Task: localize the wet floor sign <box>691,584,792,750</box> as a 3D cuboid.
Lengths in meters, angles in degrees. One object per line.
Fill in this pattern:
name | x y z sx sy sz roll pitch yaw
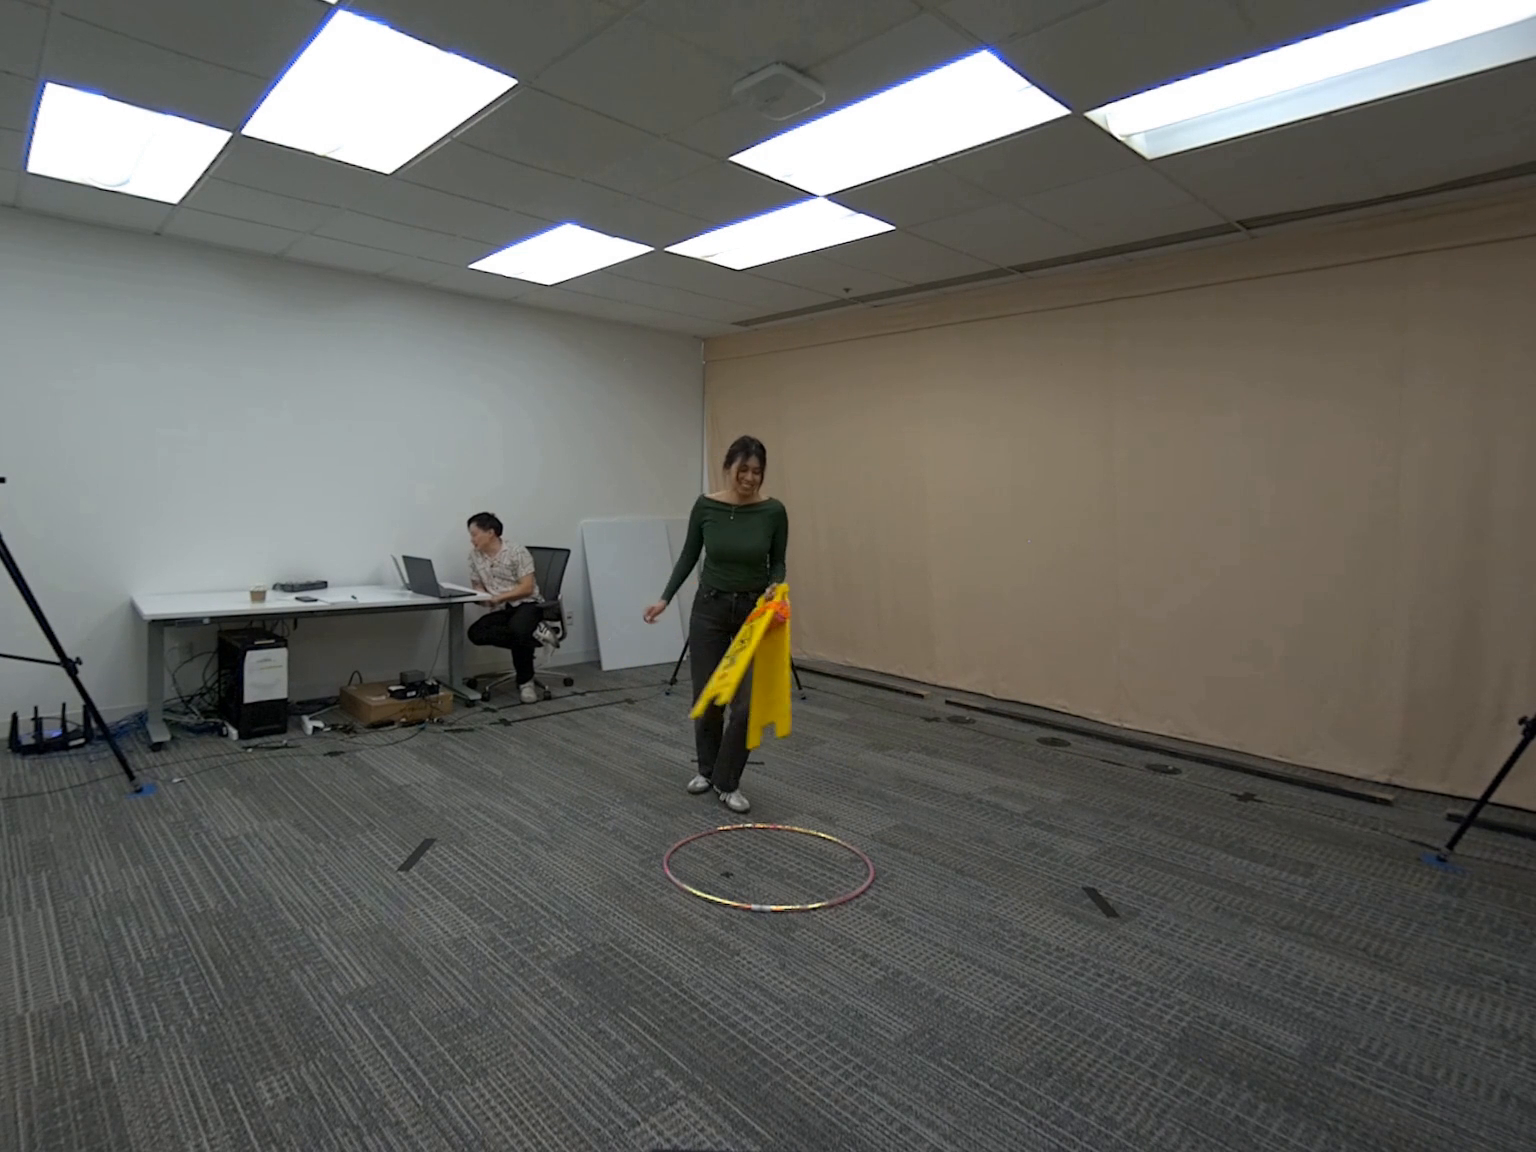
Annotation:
wet floor sign | -0.058 0.311 3.431 0.284 0.655 0.284 31 -38 -21
